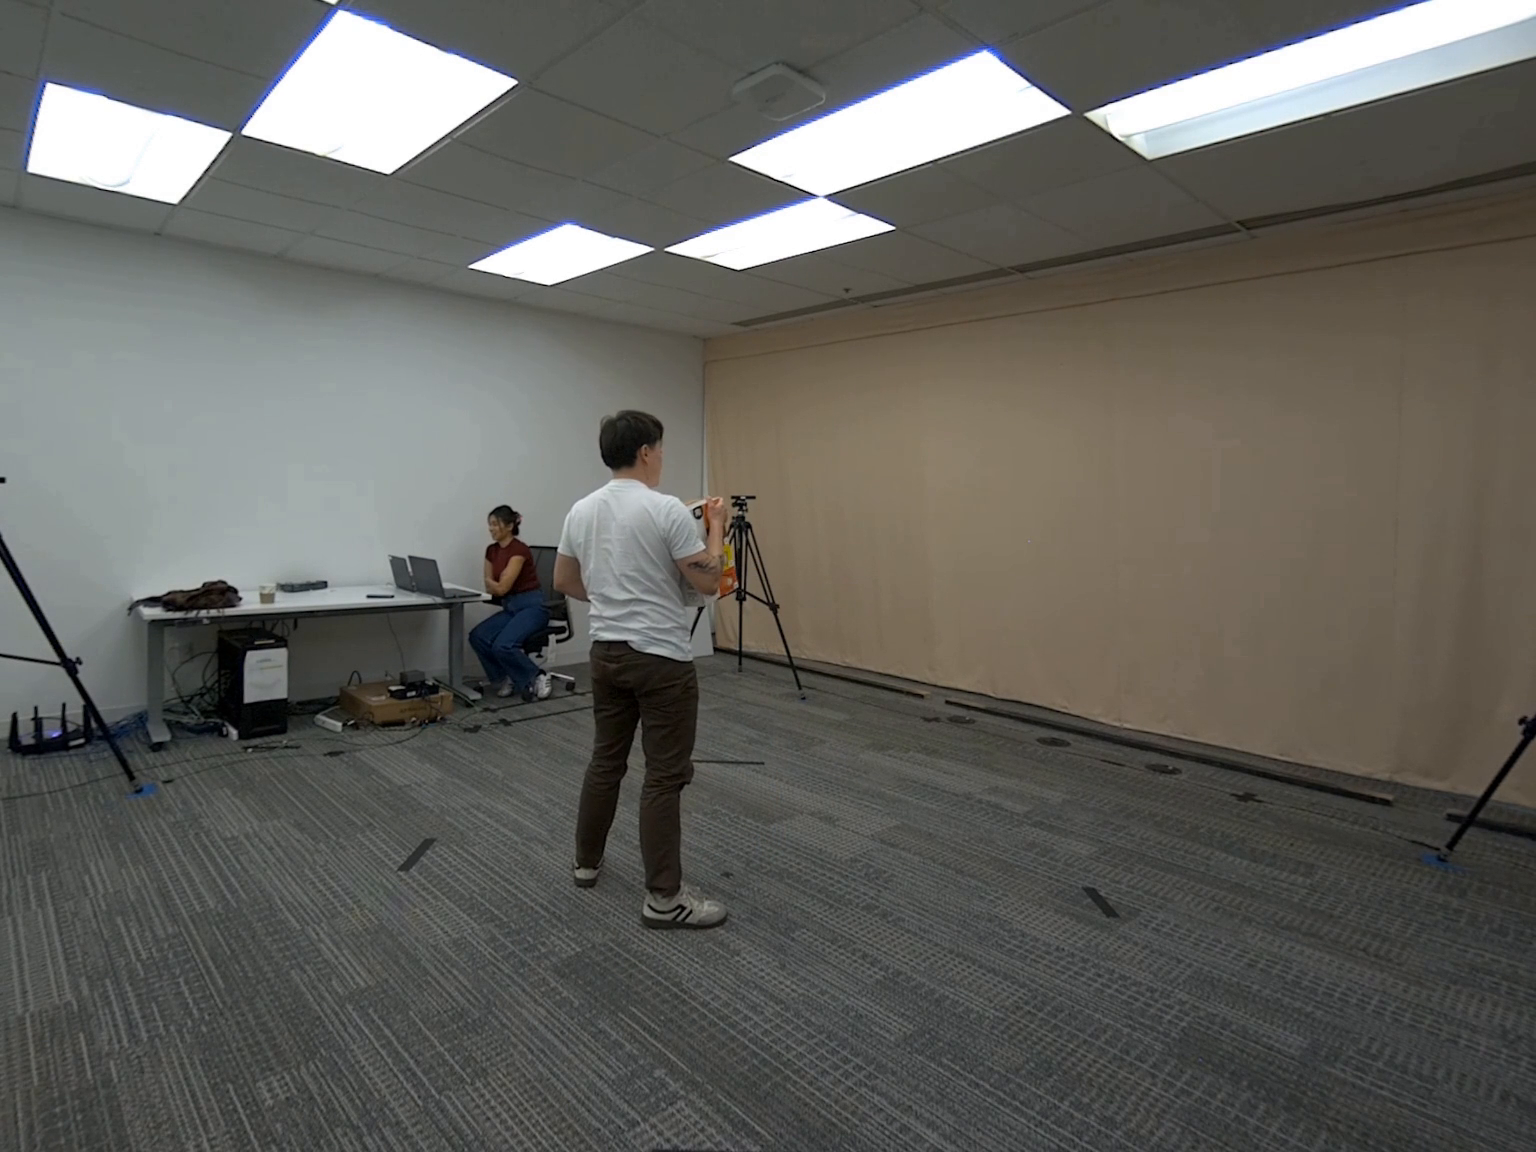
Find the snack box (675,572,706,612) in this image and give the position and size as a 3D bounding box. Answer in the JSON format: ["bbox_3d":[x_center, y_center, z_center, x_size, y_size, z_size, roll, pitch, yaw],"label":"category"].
[{"bbox_3d":[-0.367,-0.080,3.061,0.414,0.337,0.203,-2,15,37],"label":"snack box"}]
